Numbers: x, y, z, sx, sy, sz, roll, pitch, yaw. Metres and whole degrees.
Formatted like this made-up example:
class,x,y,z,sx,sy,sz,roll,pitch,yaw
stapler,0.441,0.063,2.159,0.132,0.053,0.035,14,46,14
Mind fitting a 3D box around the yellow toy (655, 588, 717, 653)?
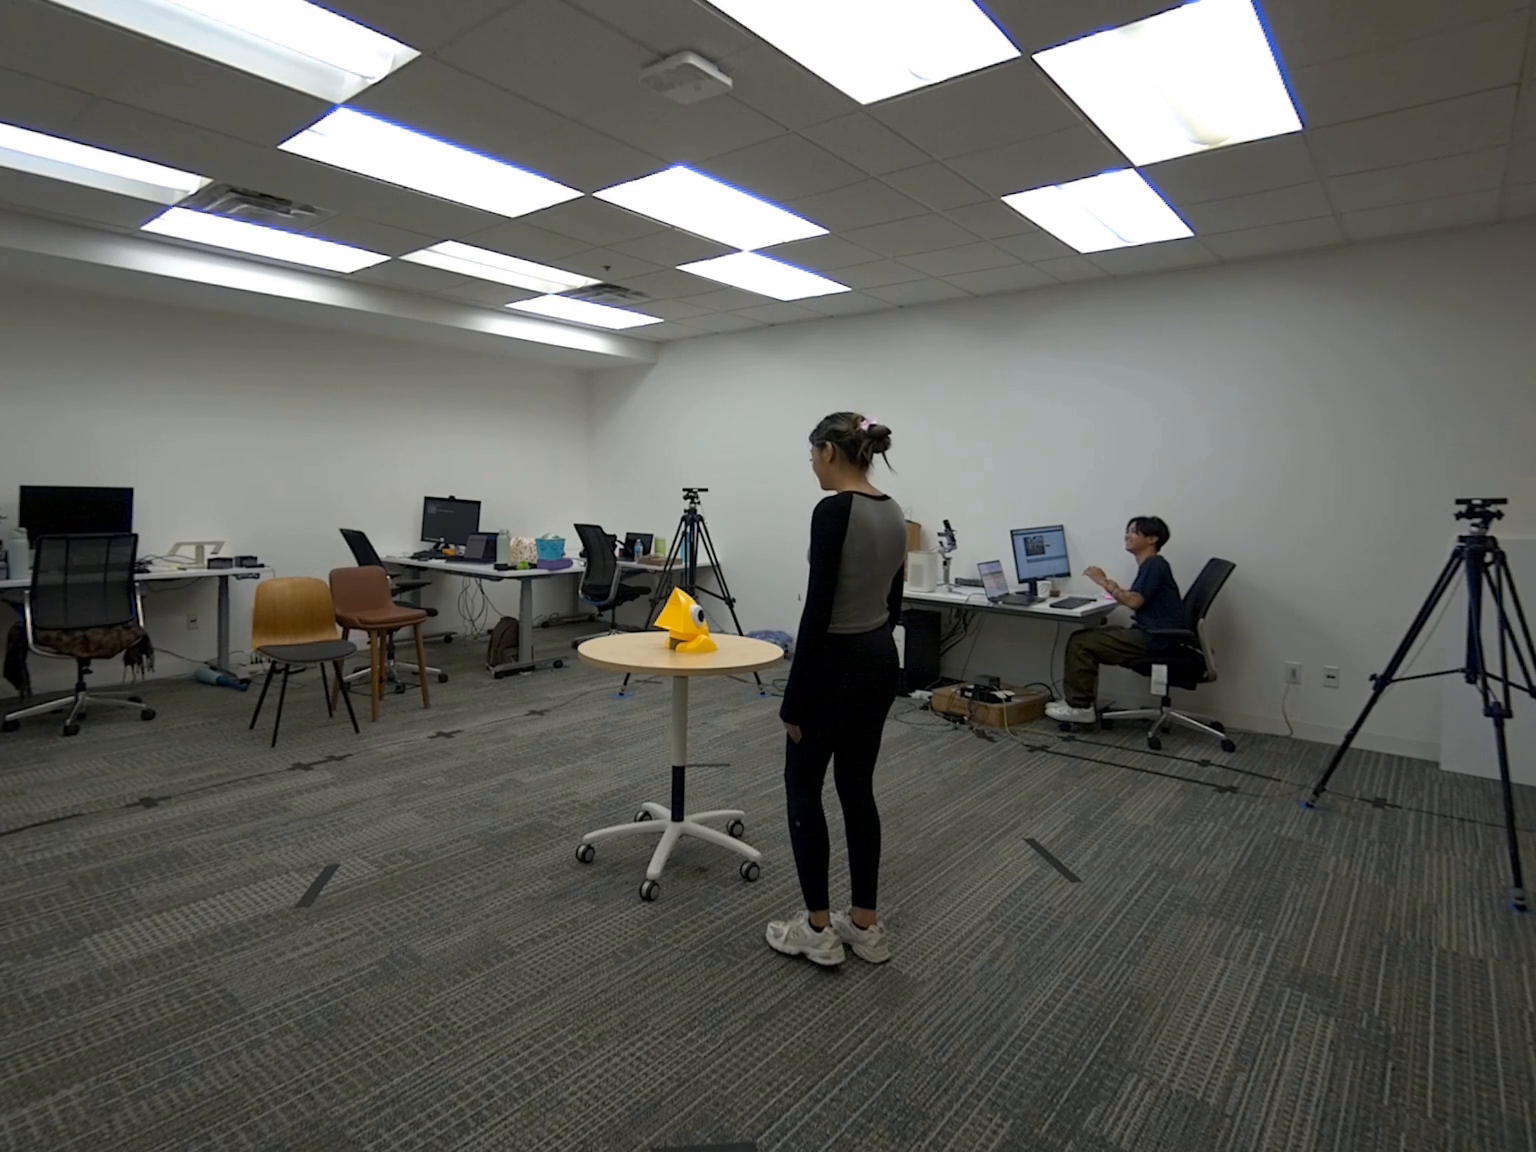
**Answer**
class,x,y,z,sx,sy,sz,roll,pitch,yaw
yellow toy,-0.309,0.153,3.181,0.187,0.230,0.211,-1,4,-36
